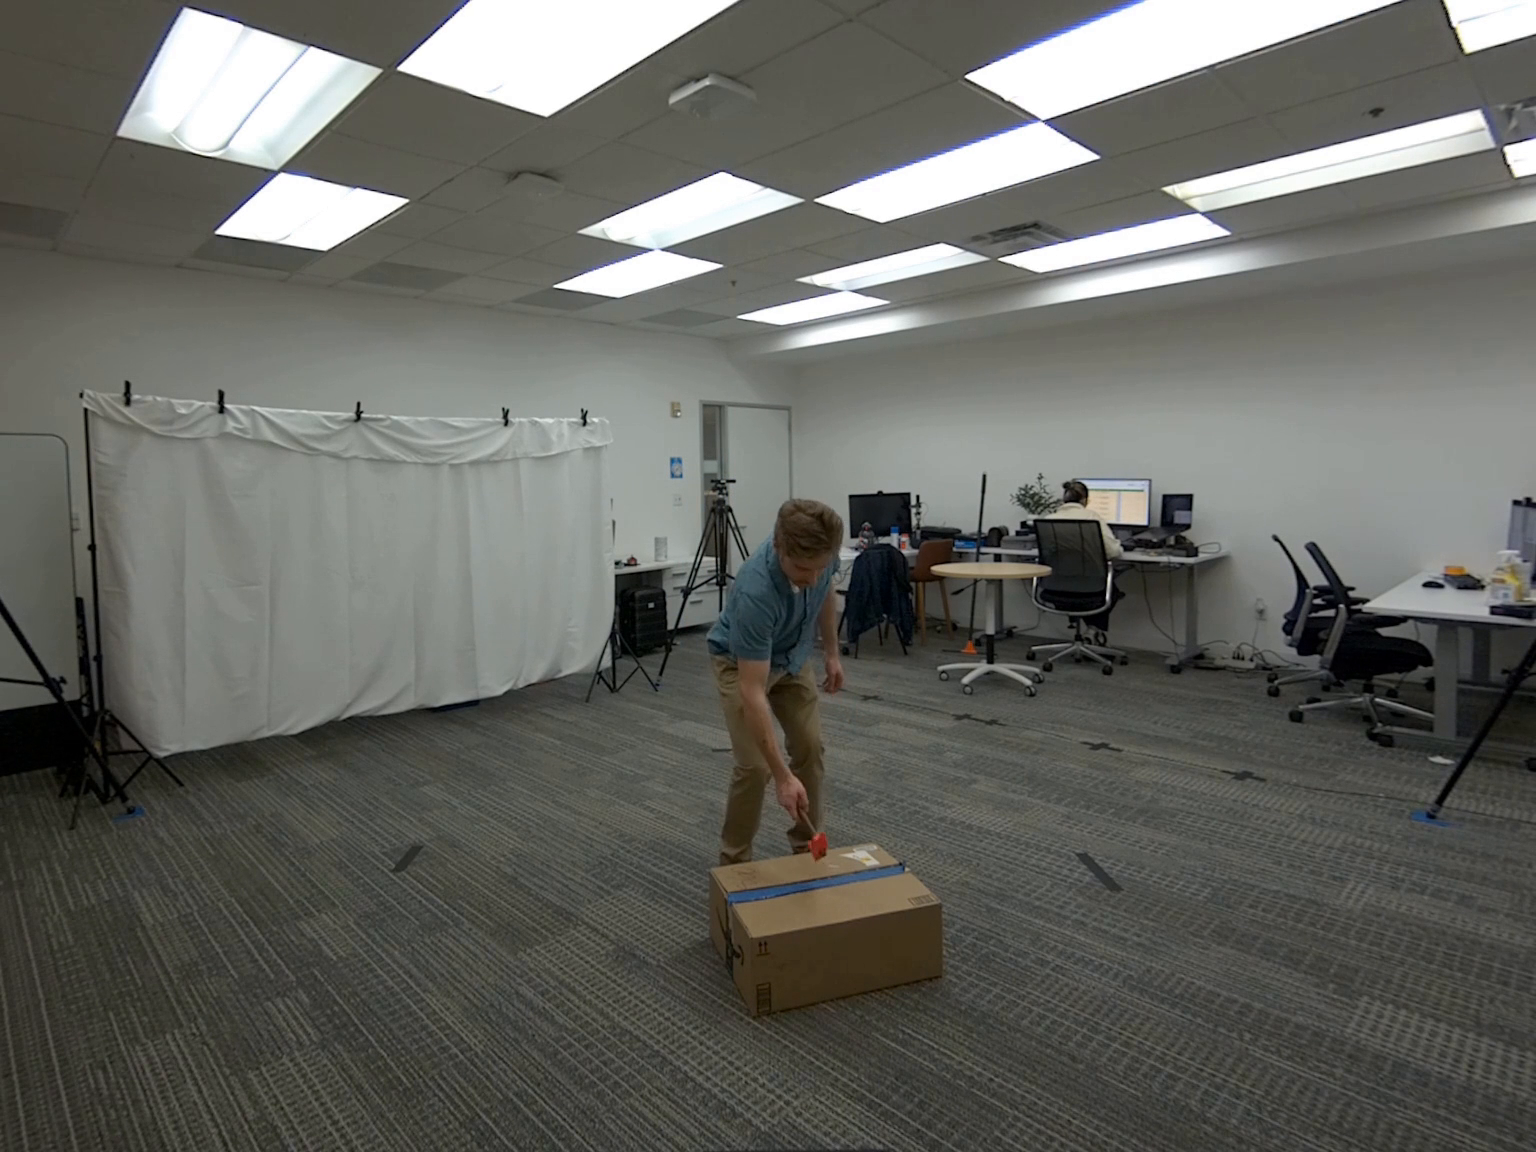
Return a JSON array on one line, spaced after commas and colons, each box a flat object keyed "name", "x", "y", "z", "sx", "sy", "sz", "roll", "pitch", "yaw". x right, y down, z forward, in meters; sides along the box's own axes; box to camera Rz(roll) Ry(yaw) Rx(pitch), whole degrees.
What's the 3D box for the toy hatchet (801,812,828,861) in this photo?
[{"name": "toy hatchet", "x": 0.110, "y": 0.734, "z": 2.544, "sx": 0.029, "sy": 0.129, "sz": 0.277, "roll": -17, "pitch": 18, "yaw": -13}]
